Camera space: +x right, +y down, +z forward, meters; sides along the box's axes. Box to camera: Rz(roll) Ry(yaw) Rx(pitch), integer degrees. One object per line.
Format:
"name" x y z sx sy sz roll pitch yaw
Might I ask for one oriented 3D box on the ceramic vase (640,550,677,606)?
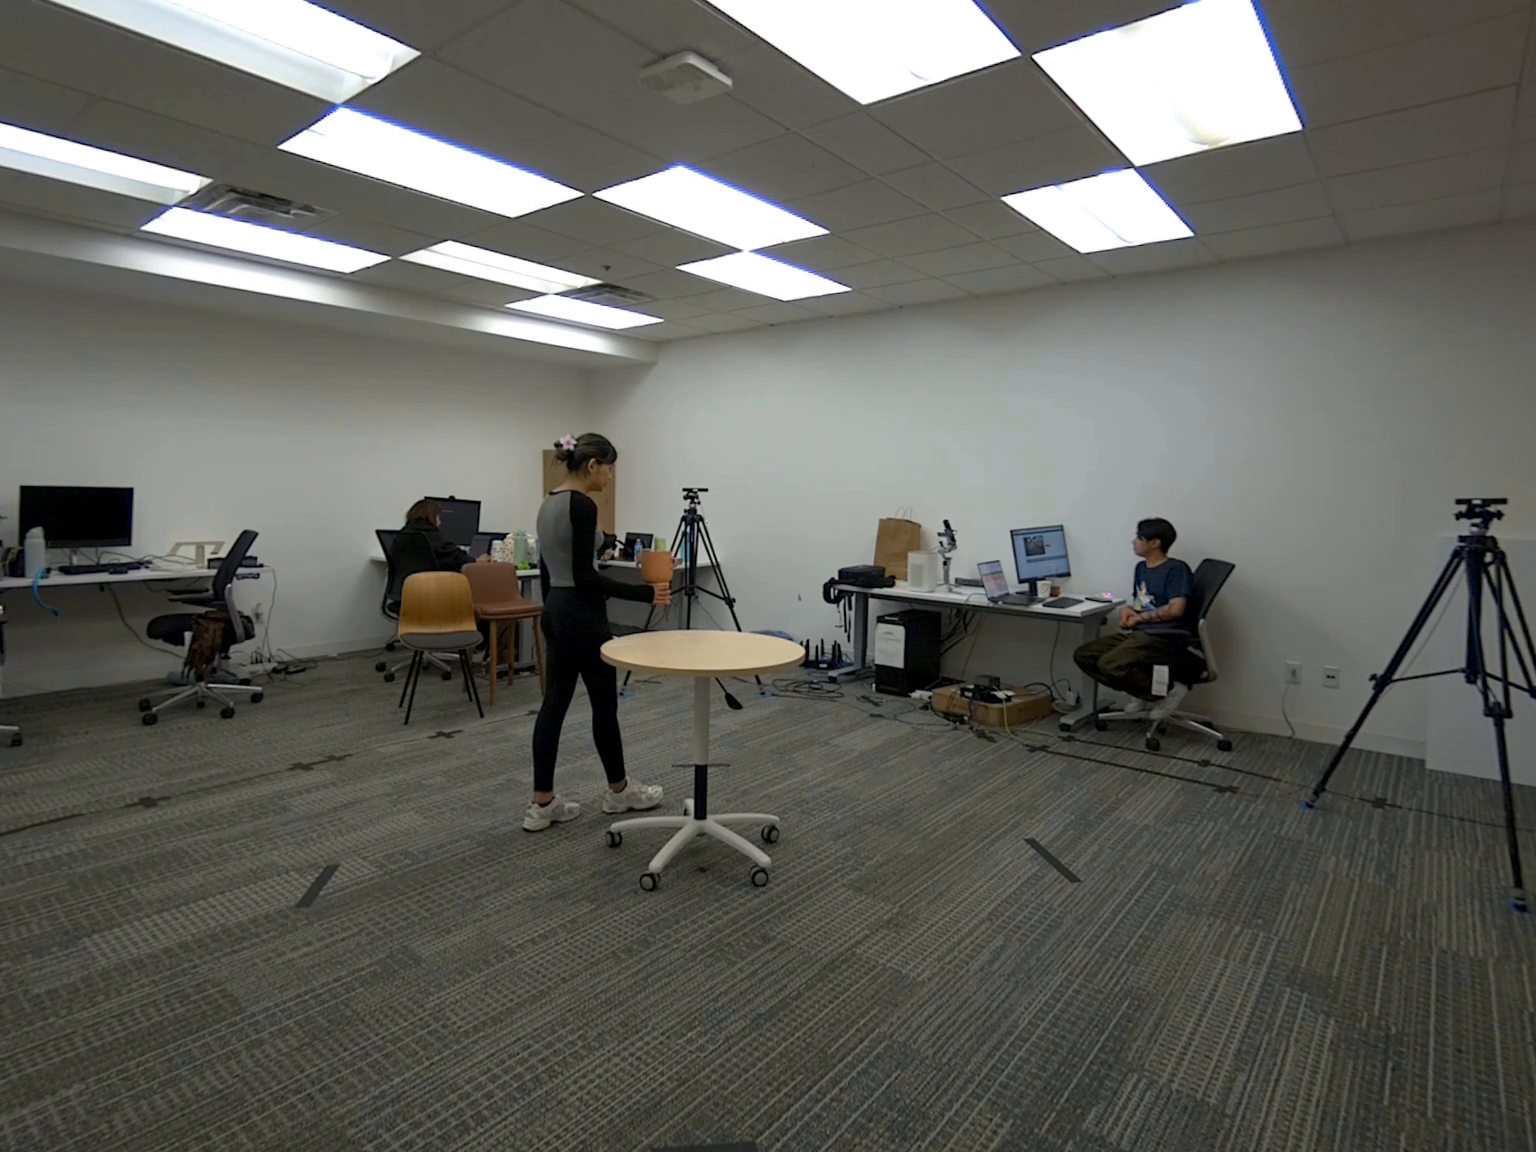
"ceramic vase" -0.480 0.007 3.577 0.131 0.220 0.162 -2 -3 -28
